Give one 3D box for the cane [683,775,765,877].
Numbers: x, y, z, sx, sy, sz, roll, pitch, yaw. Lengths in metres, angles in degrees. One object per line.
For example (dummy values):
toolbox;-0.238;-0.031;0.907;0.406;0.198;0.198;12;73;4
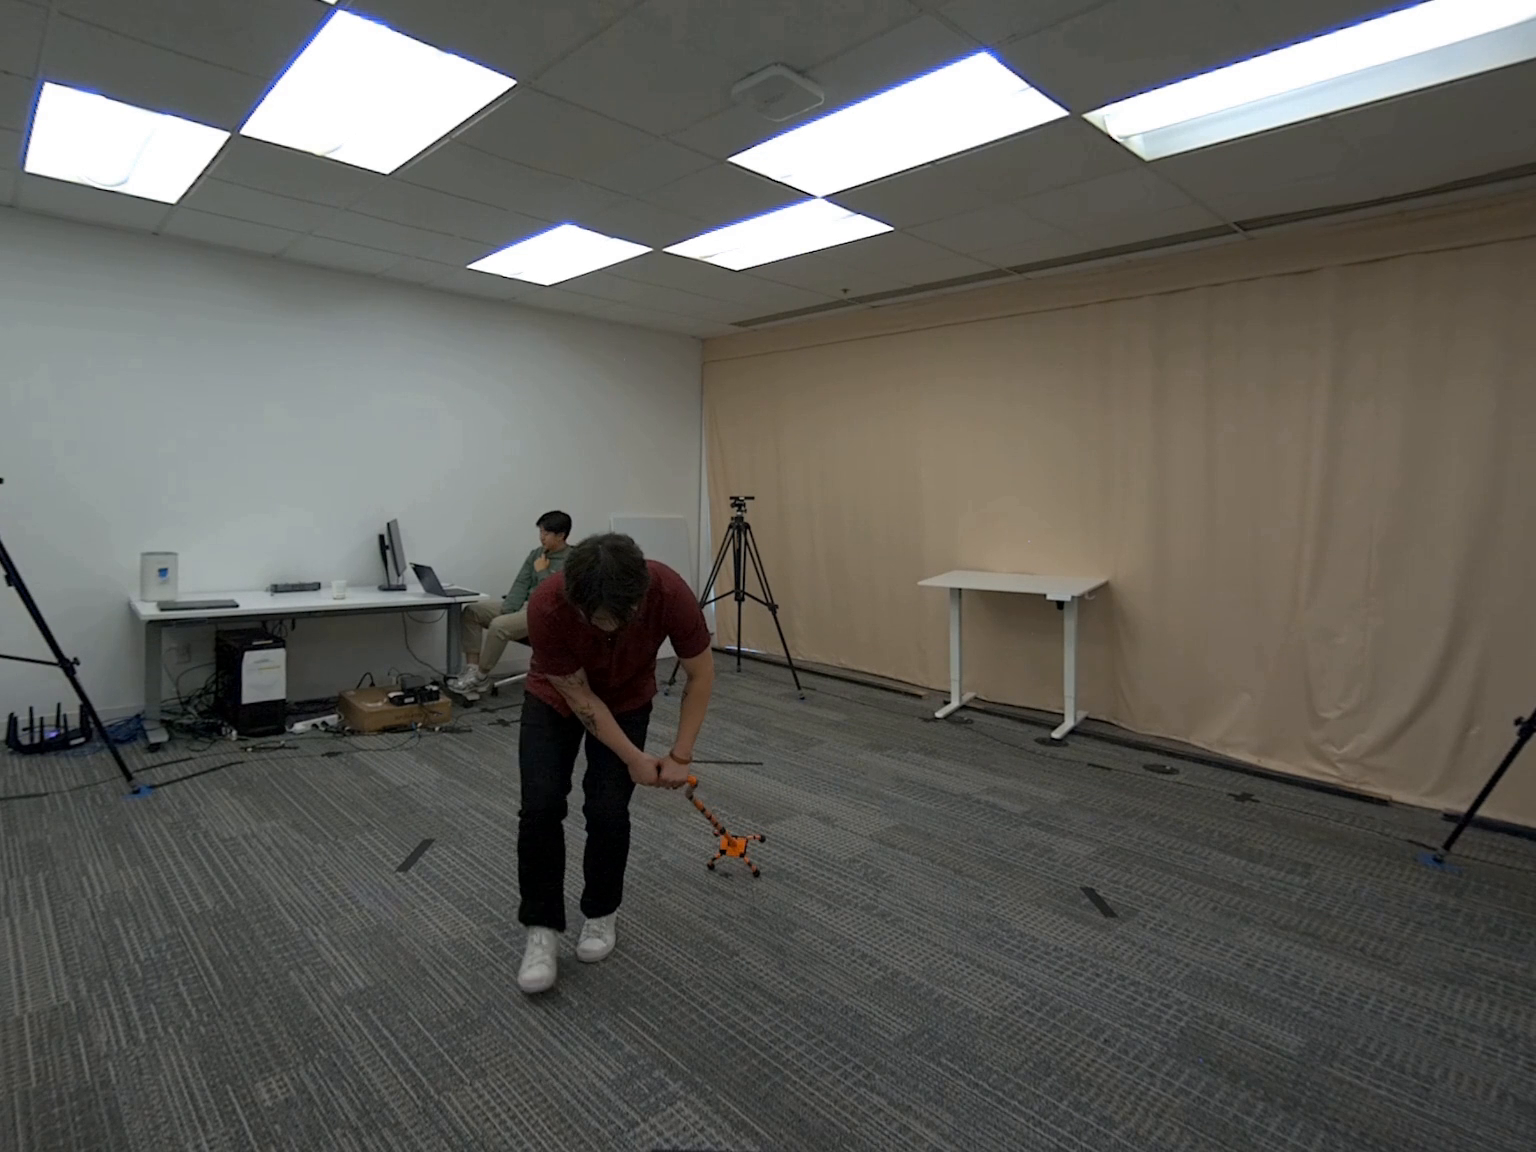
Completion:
cane;-0.200;0.811;2.790;0.209;0.154;0.884;3;-30;14
